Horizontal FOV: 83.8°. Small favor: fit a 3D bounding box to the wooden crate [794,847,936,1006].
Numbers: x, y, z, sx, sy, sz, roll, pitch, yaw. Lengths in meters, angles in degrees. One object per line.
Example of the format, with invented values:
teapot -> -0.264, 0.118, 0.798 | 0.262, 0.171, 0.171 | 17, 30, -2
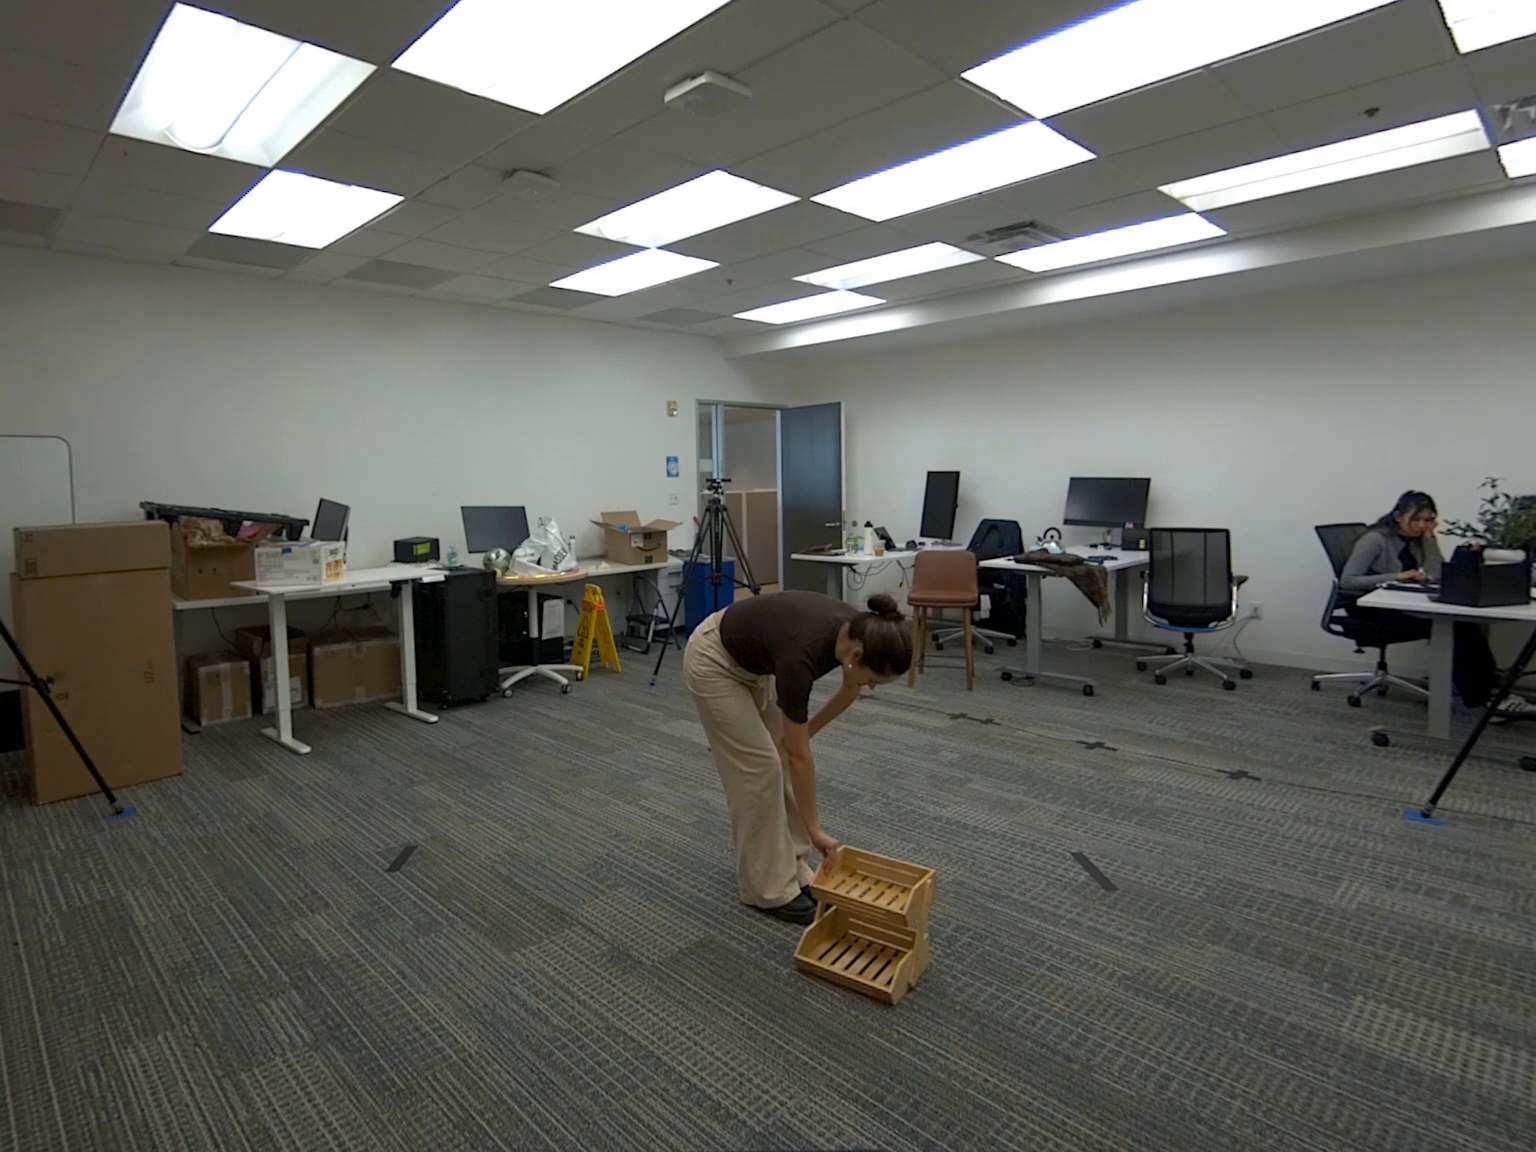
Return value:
wooden crate -> 0.285, 0.982, 2.439 | 0.334, 0.272, 0.294 | 2, 5, 35
